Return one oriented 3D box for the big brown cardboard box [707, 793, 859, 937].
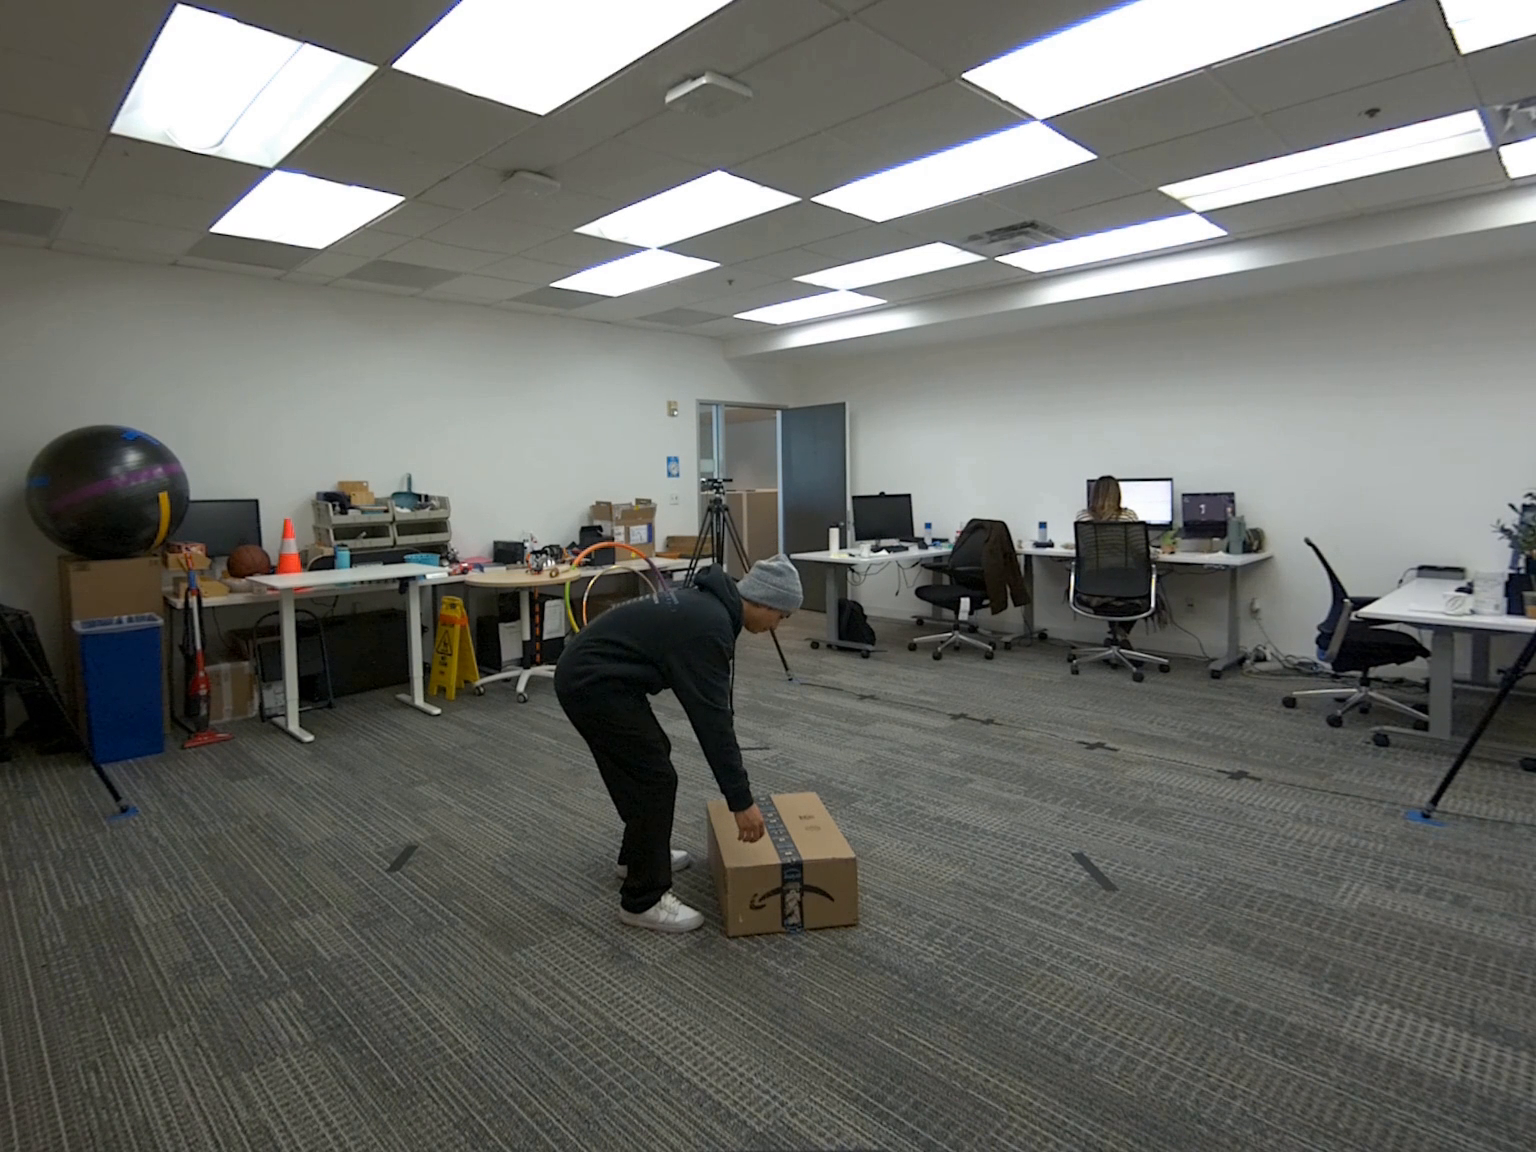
[{"bbox_3d":[0.029,0.955,2.899,0.414,0.232,0.597,-3,7,-8],"label":"big brown cardboard box"}]
